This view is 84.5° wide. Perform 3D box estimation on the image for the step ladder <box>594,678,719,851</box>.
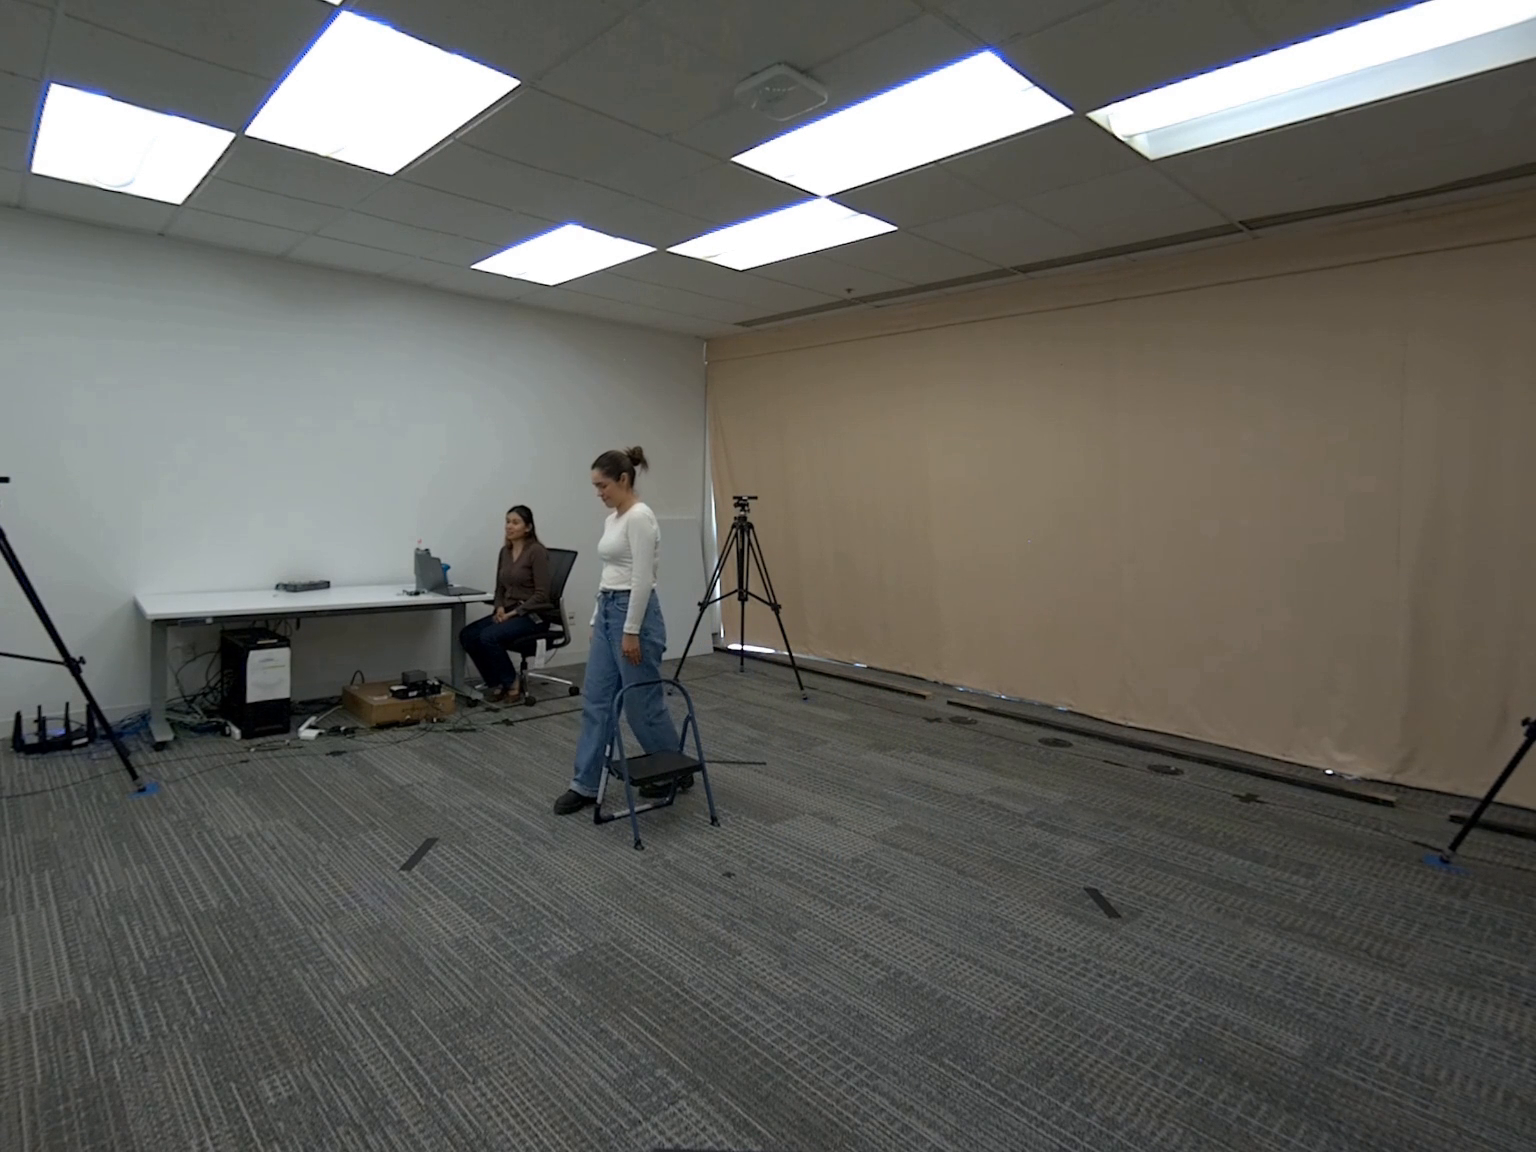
[{"bbox_3d":[-0.473,0.757,3.551,0.421,0.604,0.358,-2,5,-43],"label":"step ladder"}]
